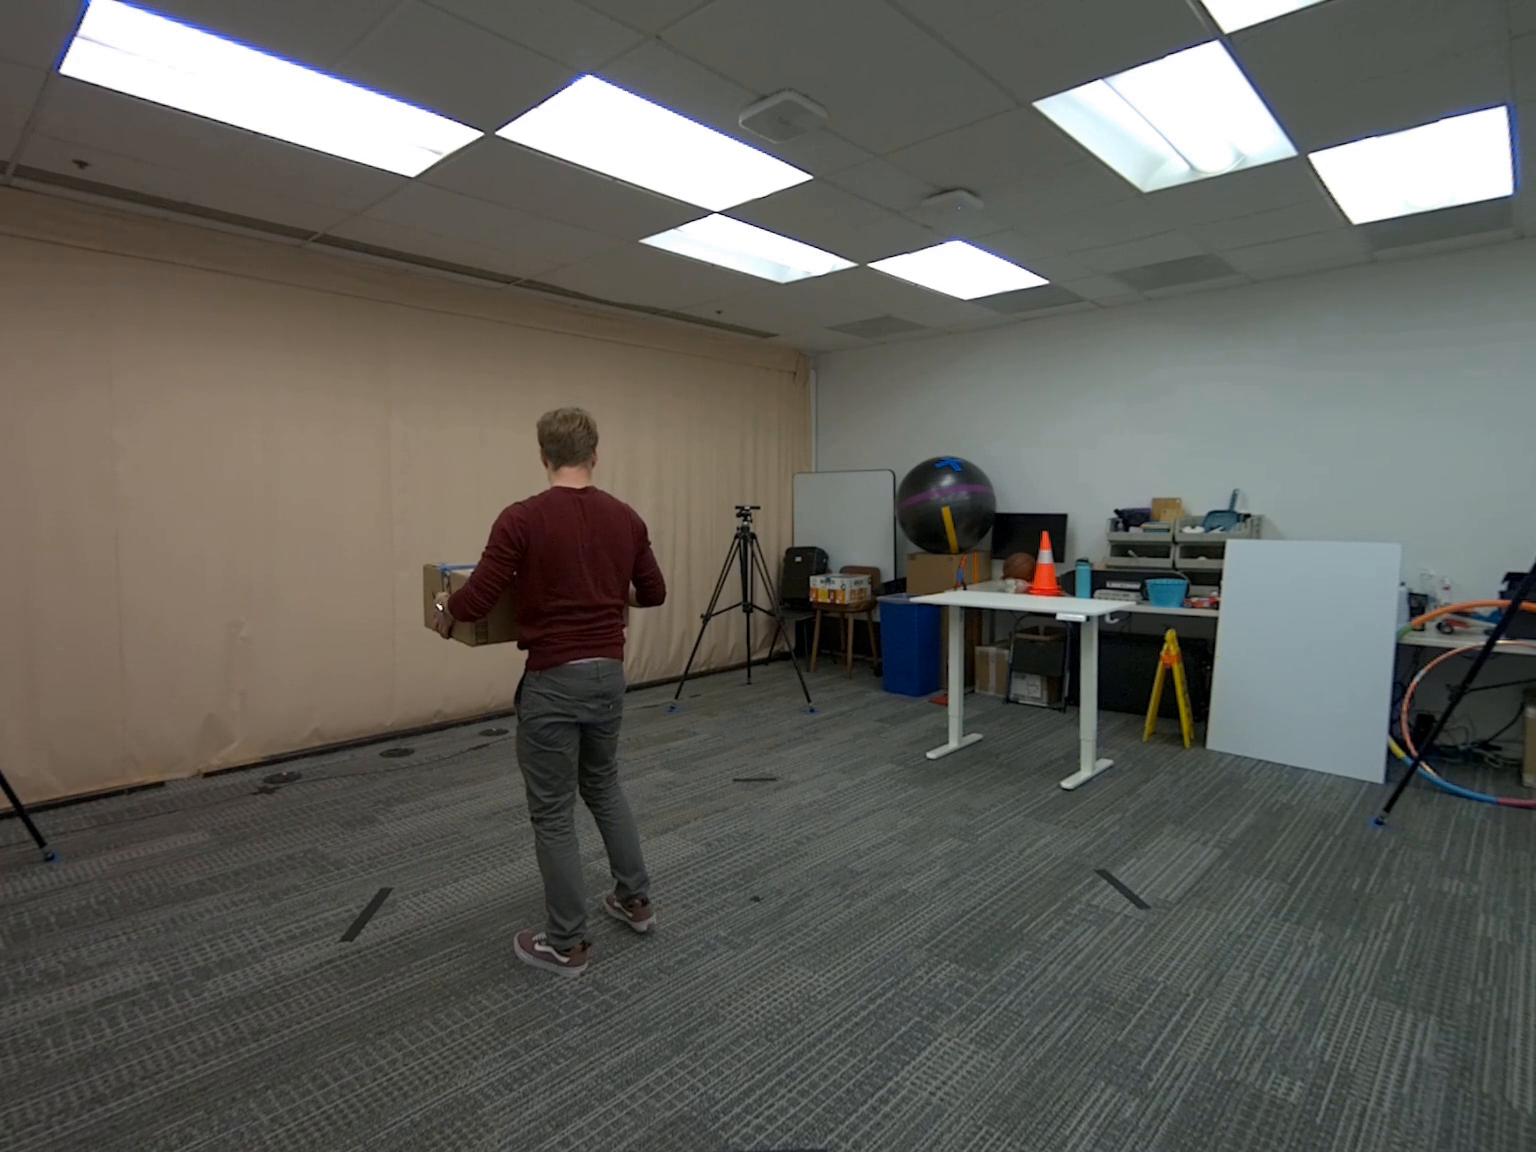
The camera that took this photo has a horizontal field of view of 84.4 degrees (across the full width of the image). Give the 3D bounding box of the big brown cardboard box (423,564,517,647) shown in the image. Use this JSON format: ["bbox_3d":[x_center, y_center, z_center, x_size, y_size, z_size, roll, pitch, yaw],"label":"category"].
[{"bbox_3d":[-0.828,0.067,2.863,0.571,0.232,0.432,-4,8,-39],"label":"big brown cardboard box"}]
